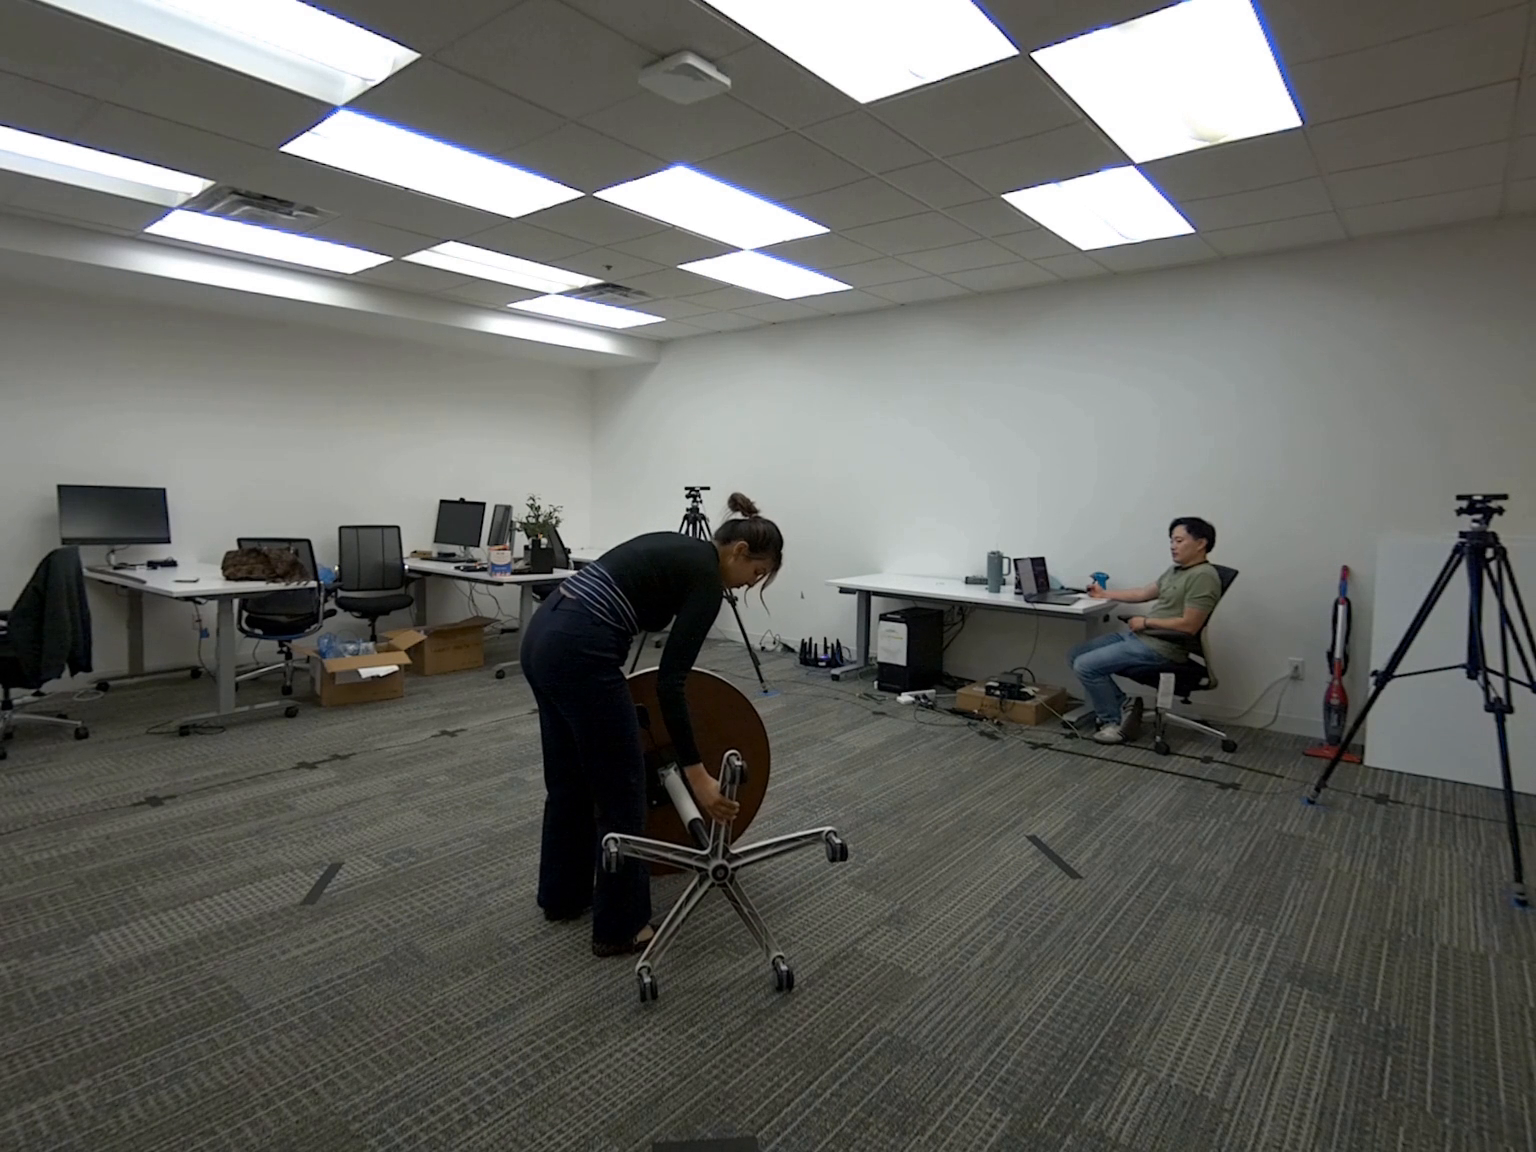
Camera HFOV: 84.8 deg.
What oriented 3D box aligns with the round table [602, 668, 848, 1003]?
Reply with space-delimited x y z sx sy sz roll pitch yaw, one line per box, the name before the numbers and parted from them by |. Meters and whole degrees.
round table | -0.238 0.766 2.638 0.751 0.758 0.814 -1 10 -17
